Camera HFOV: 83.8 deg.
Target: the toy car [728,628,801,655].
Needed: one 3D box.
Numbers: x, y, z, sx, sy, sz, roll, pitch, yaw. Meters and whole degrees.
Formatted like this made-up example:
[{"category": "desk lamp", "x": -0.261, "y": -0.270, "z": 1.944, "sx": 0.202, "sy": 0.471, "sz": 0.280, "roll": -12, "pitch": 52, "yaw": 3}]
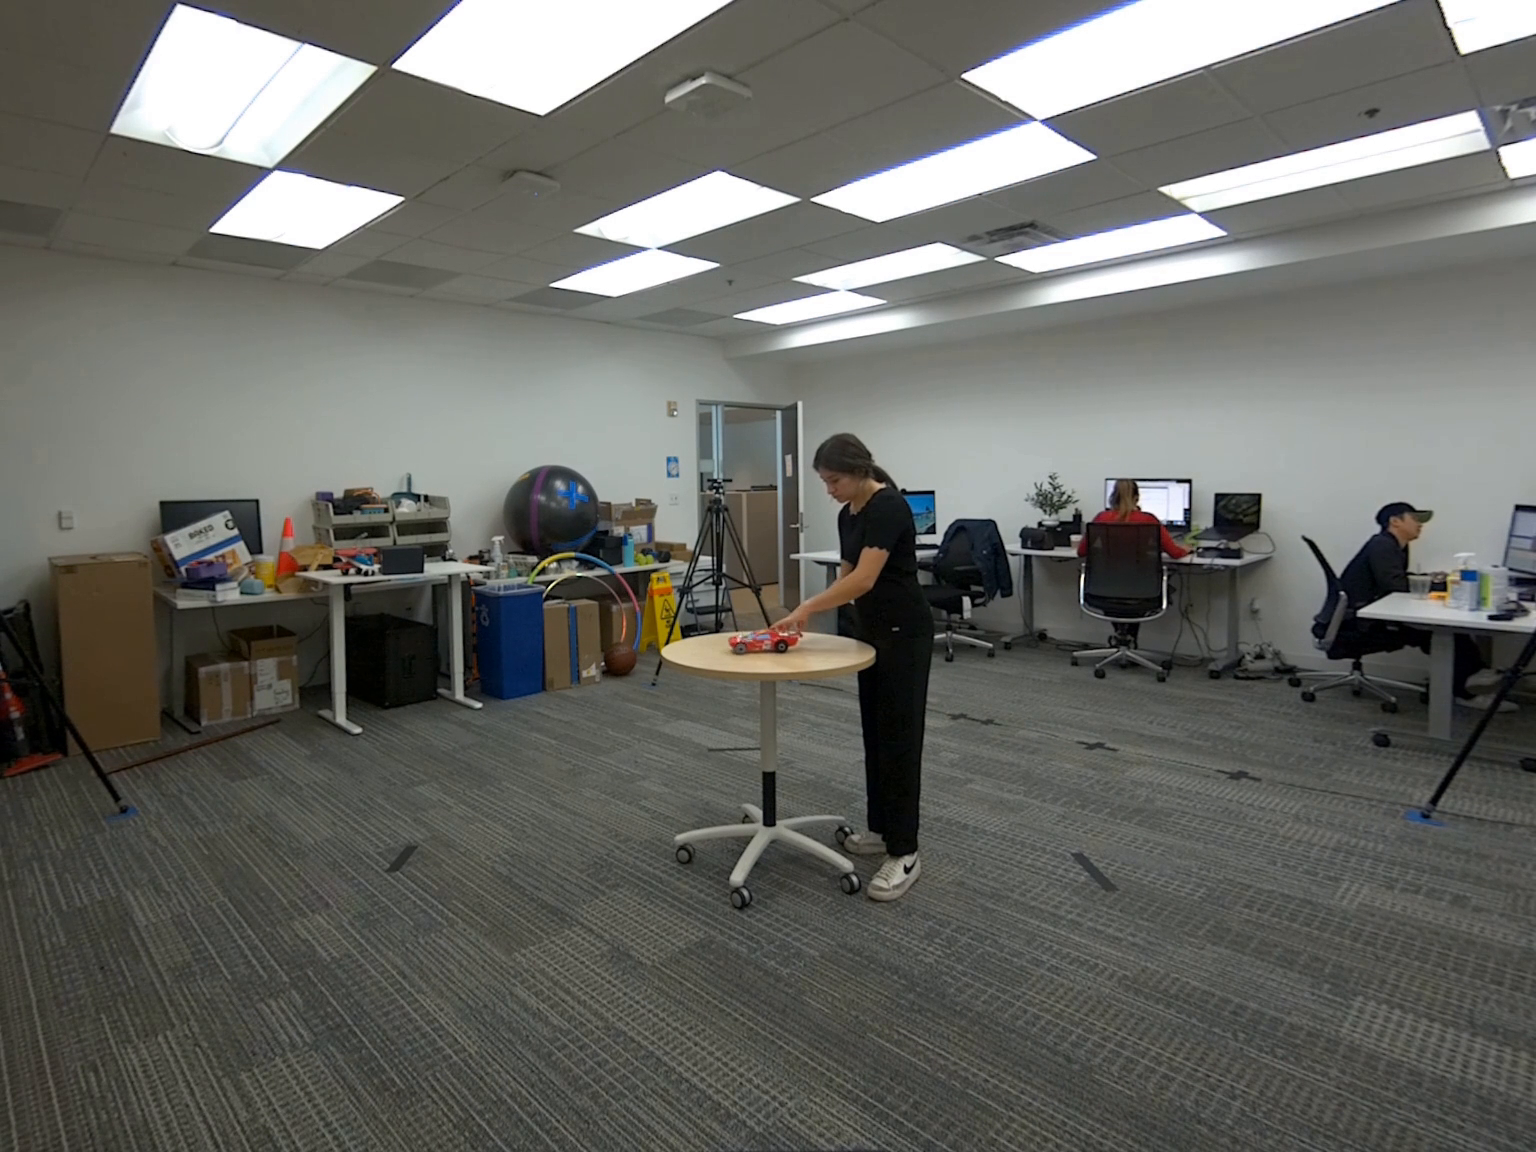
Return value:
[{"category": "toy car", "x": -0.007, "y": 0.238, "z": 3.034, "sx": 0.254, "sy": 0.082, "sz": 0.132, "roll": -12, "pitch": 9, "yaw": -5}]
